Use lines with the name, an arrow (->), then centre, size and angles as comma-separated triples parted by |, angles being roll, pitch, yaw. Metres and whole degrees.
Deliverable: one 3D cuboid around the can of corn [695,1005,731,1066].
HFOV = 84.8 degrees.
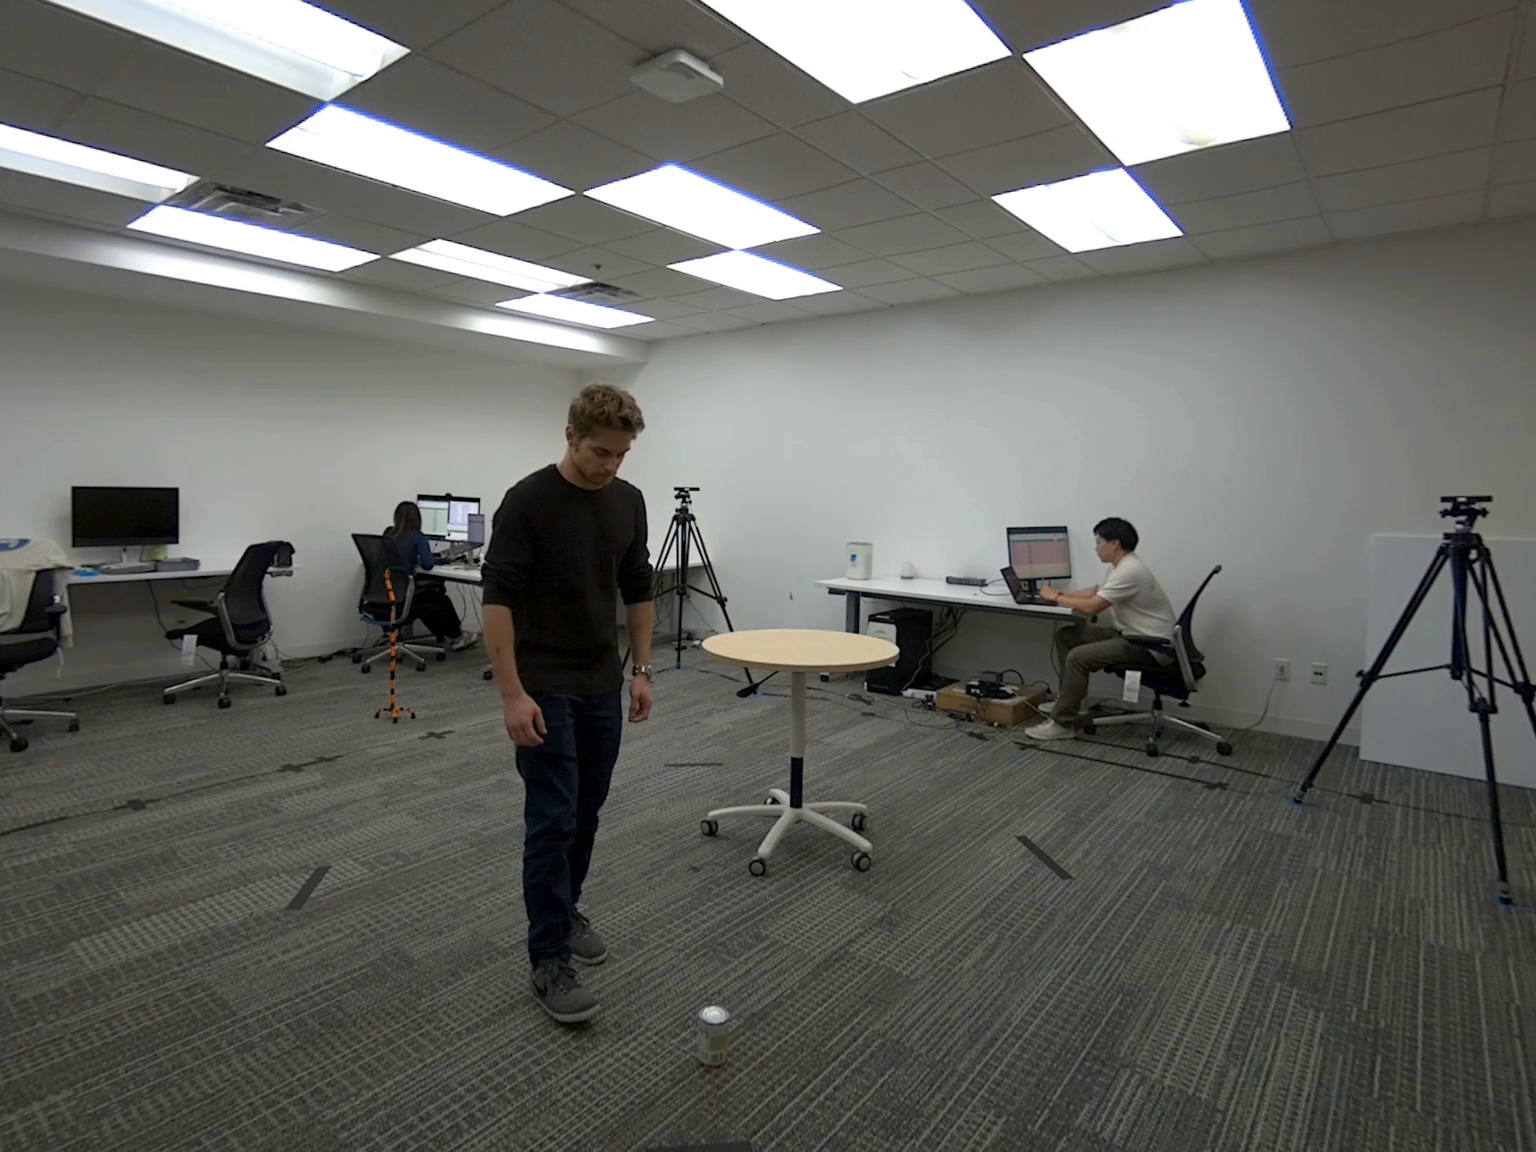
can of corn -> -0.140, 1.122, 2.068 | 0.074, 0.110, 0.075 | 0, 11, -2
